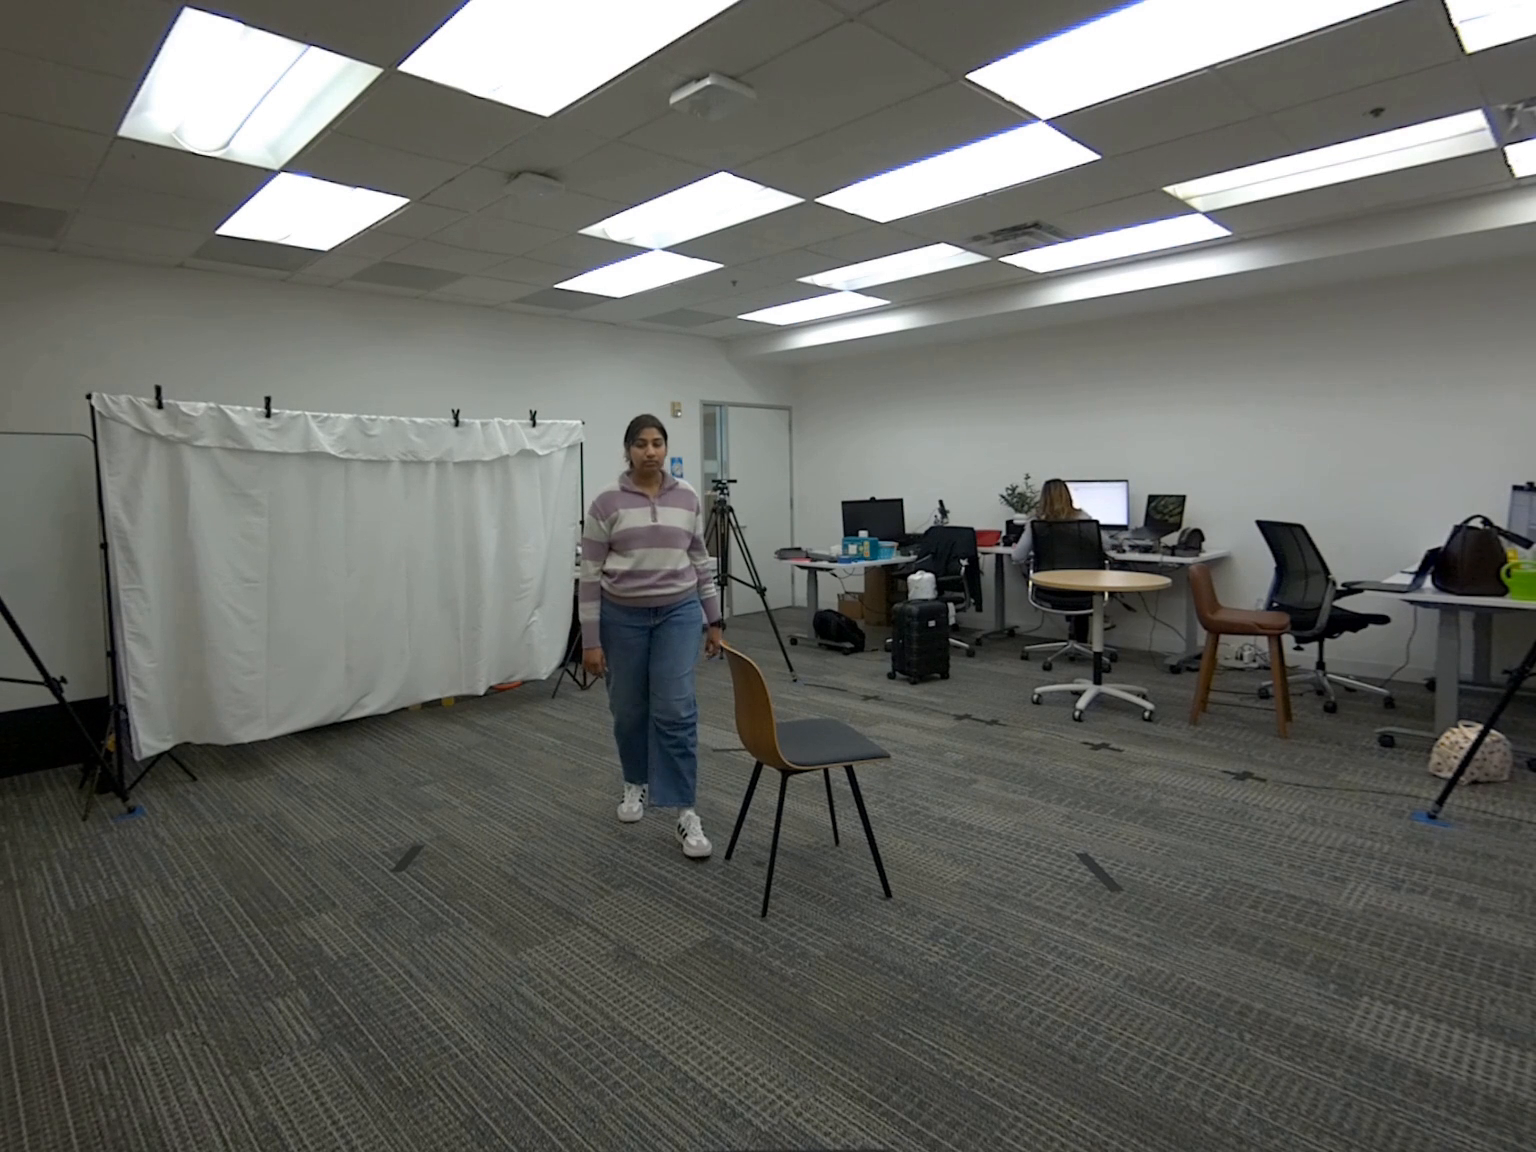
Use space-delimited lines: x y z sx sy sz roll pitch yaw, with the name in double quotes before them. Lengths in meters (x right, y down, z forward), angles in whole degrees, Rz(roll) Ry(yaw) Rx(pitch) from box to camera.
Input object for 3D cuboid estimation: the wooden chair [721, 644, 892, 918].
"wooden chair" 0.129 0.632 2.965 0.516 0.873 0.487 -6 5 -16
